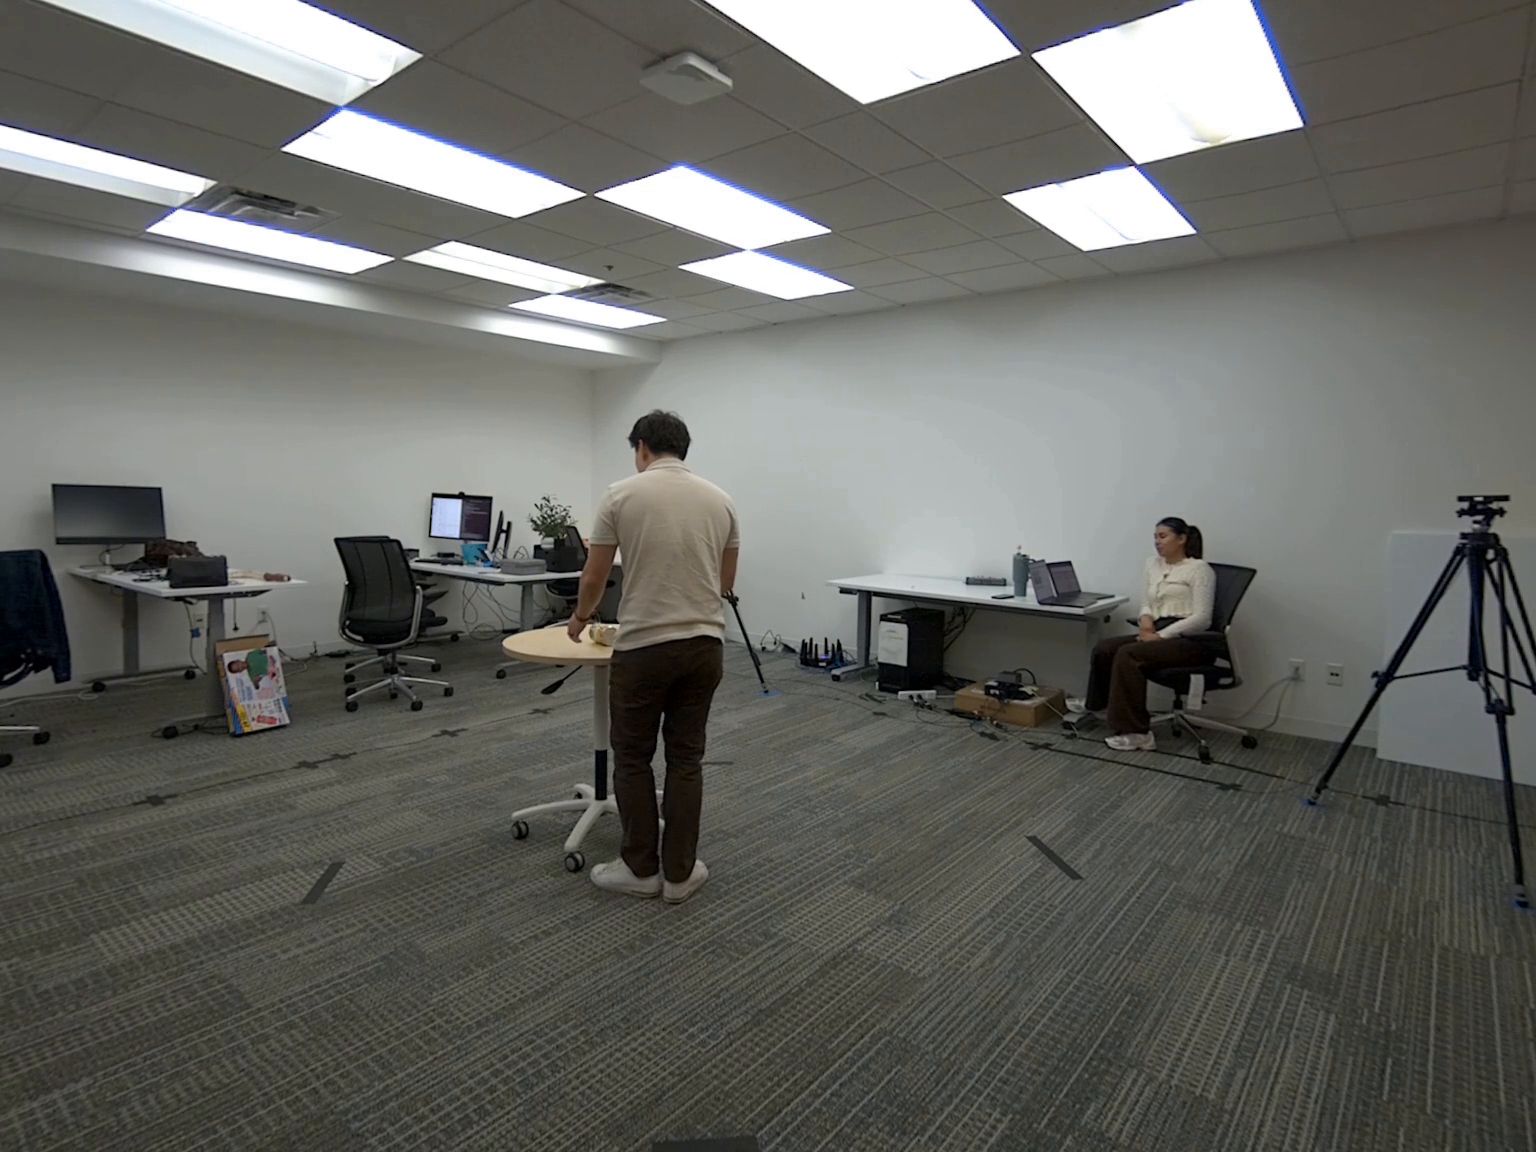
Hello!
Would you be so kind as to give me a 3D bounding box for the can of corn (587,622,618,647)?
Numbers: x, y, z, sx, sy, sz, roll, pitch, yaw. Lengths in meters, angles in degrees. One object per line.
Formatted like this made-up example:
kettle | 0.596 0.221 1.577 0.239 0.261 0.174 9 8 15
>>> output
can of corn | -0.636 0.221 3.284 0.072 0.074 0.114 -1 5 -28
